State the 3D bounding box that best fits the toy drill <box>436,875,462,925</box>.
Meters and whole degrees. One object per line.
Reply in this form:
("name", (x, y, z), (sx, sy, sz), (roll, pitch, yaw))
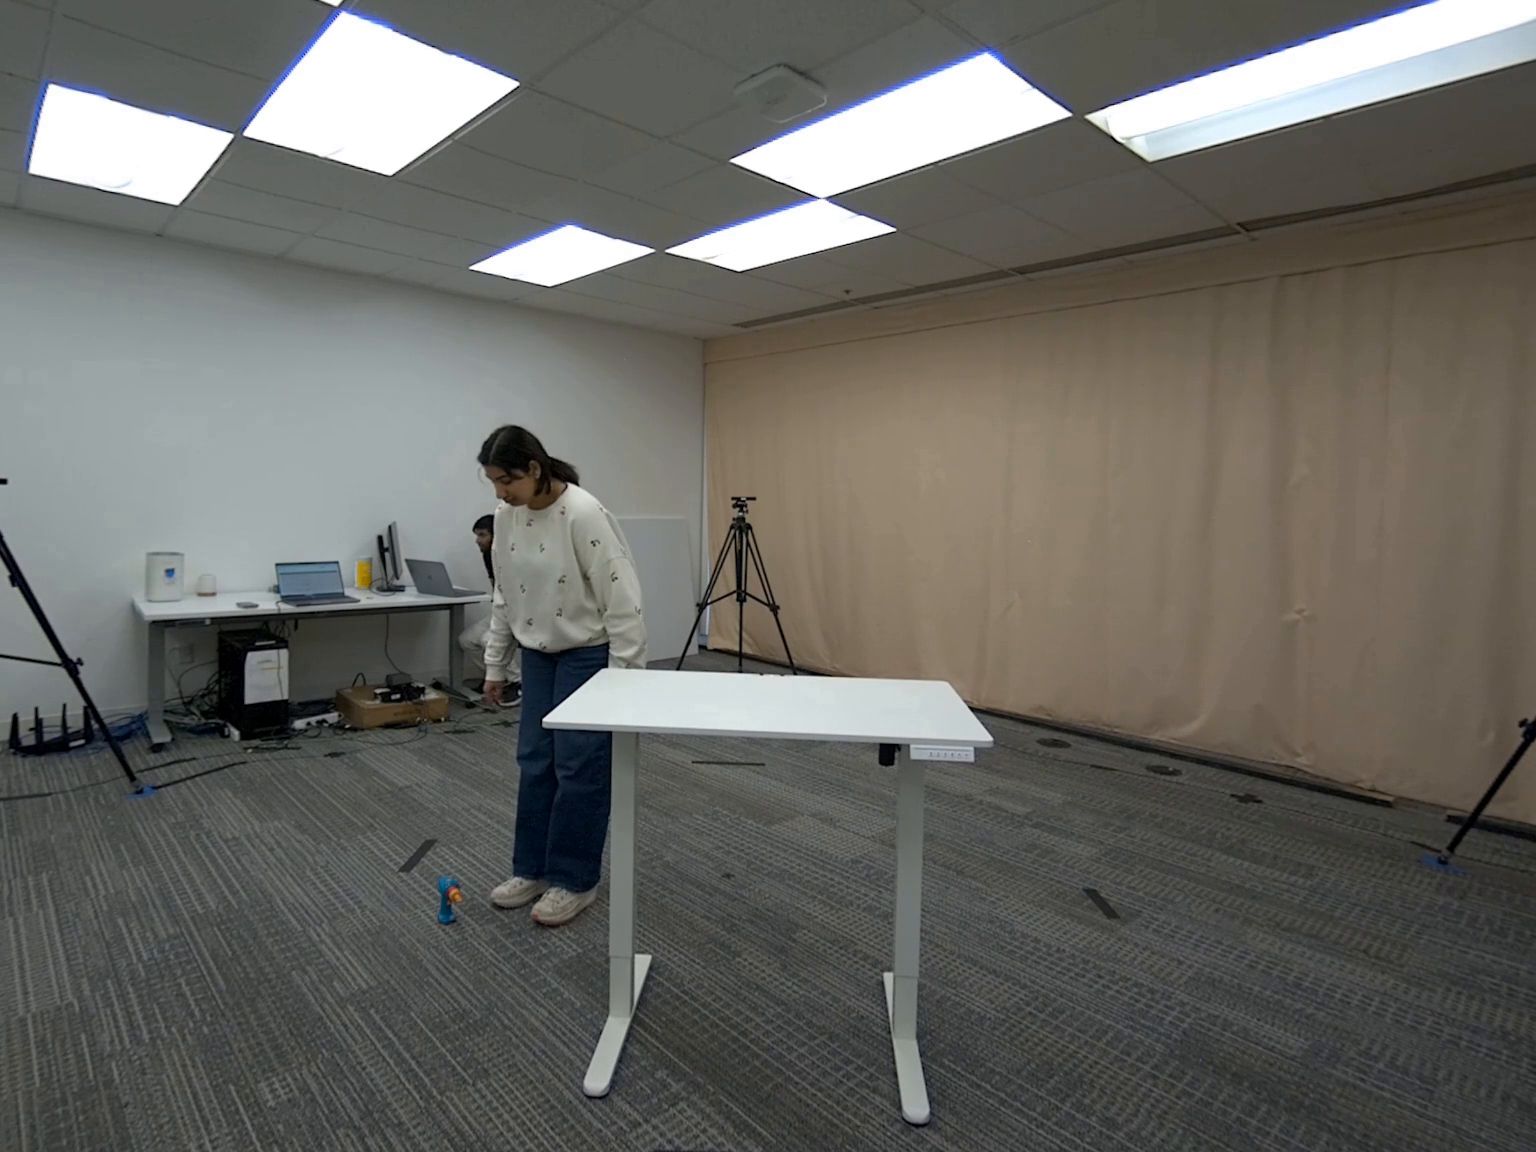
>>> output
("toy drill", (-1.028, 1.054, 2.702), (0.060, 0.145, 0.174), (-4, 7, -40))
